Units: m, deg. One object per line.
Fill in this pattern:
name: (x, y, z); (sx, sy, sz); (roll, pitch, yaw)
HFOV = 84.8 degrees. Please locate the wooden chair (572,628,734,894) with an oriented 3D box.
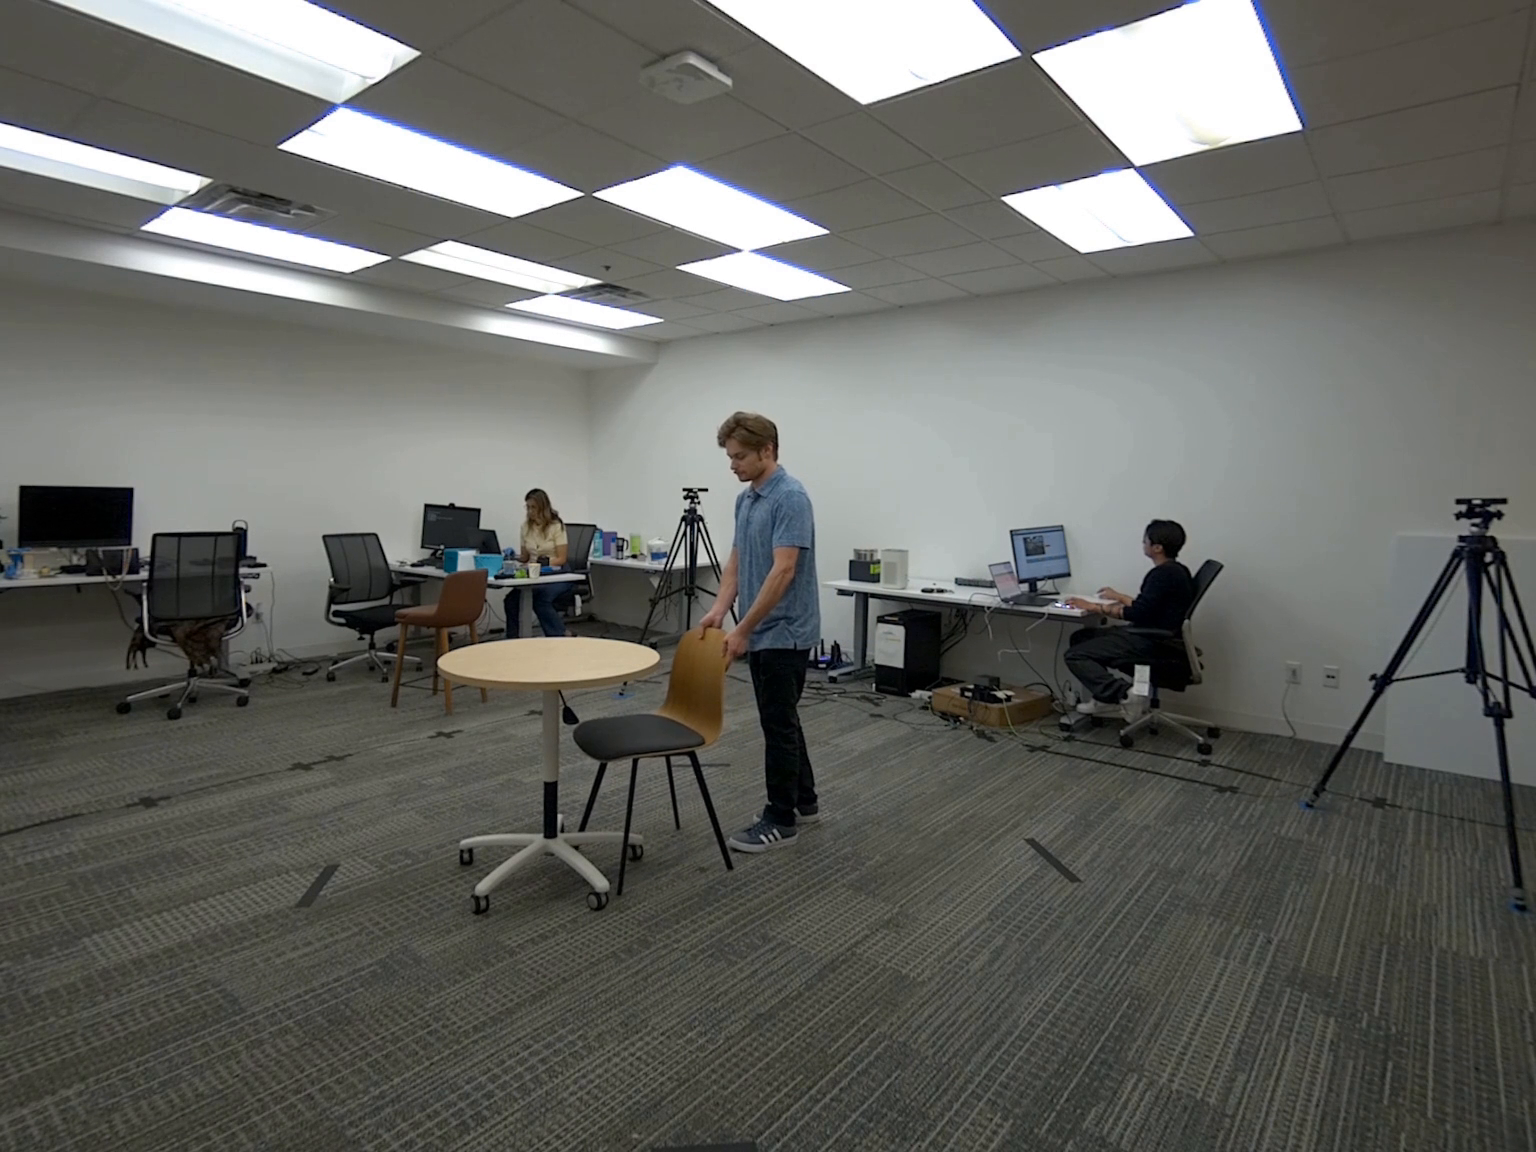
wooden chair: (-0.442, 0.633, 3.161); (0.508, 0.877, 0.492); (4, 1, -31)
